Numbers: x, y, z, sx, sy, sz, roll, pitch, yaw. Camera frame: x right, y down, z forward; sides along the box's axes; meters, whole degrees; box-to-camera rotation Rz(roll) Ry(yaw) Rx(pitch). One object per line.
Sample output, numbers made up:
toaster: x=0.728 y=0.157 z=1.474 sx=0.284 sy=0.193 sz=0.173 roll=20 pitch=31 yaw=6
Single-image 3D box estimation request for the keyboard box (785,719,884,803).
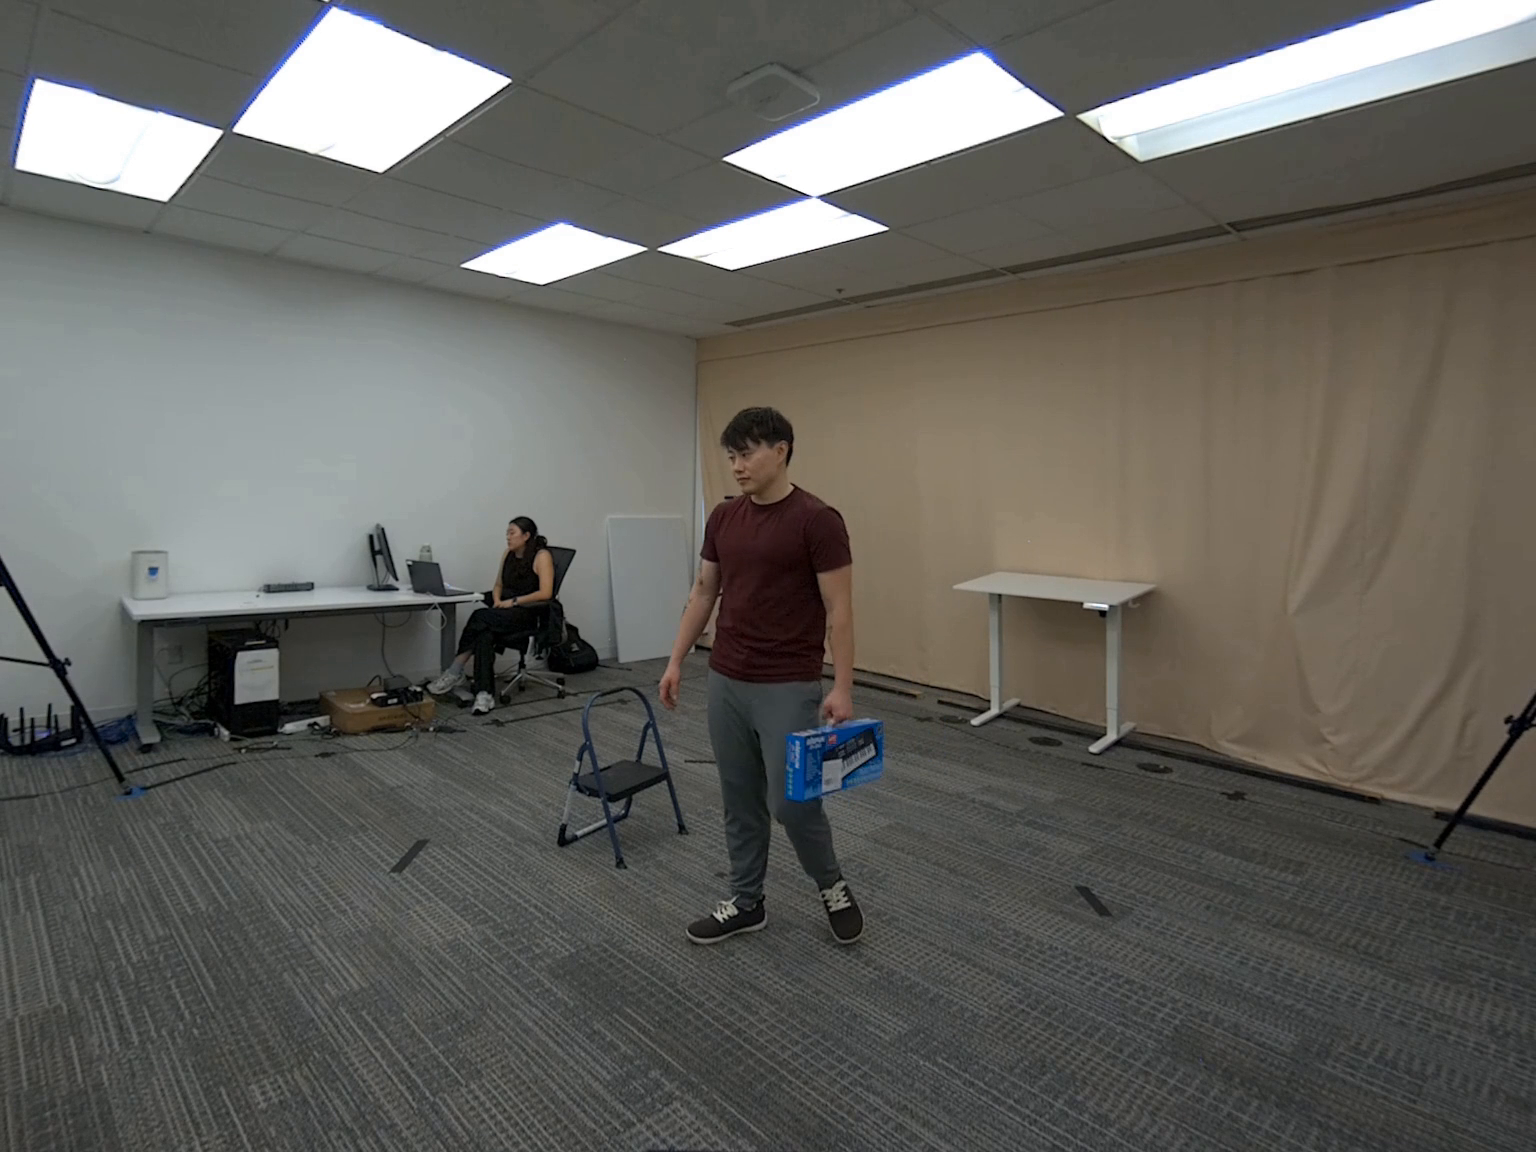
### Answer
keyboard box: x=0.193 y=0.521 z=2.411 sx=0.060 sy=0.176 sz=0.426 roll=-1 pitch=-2 yaw=35
